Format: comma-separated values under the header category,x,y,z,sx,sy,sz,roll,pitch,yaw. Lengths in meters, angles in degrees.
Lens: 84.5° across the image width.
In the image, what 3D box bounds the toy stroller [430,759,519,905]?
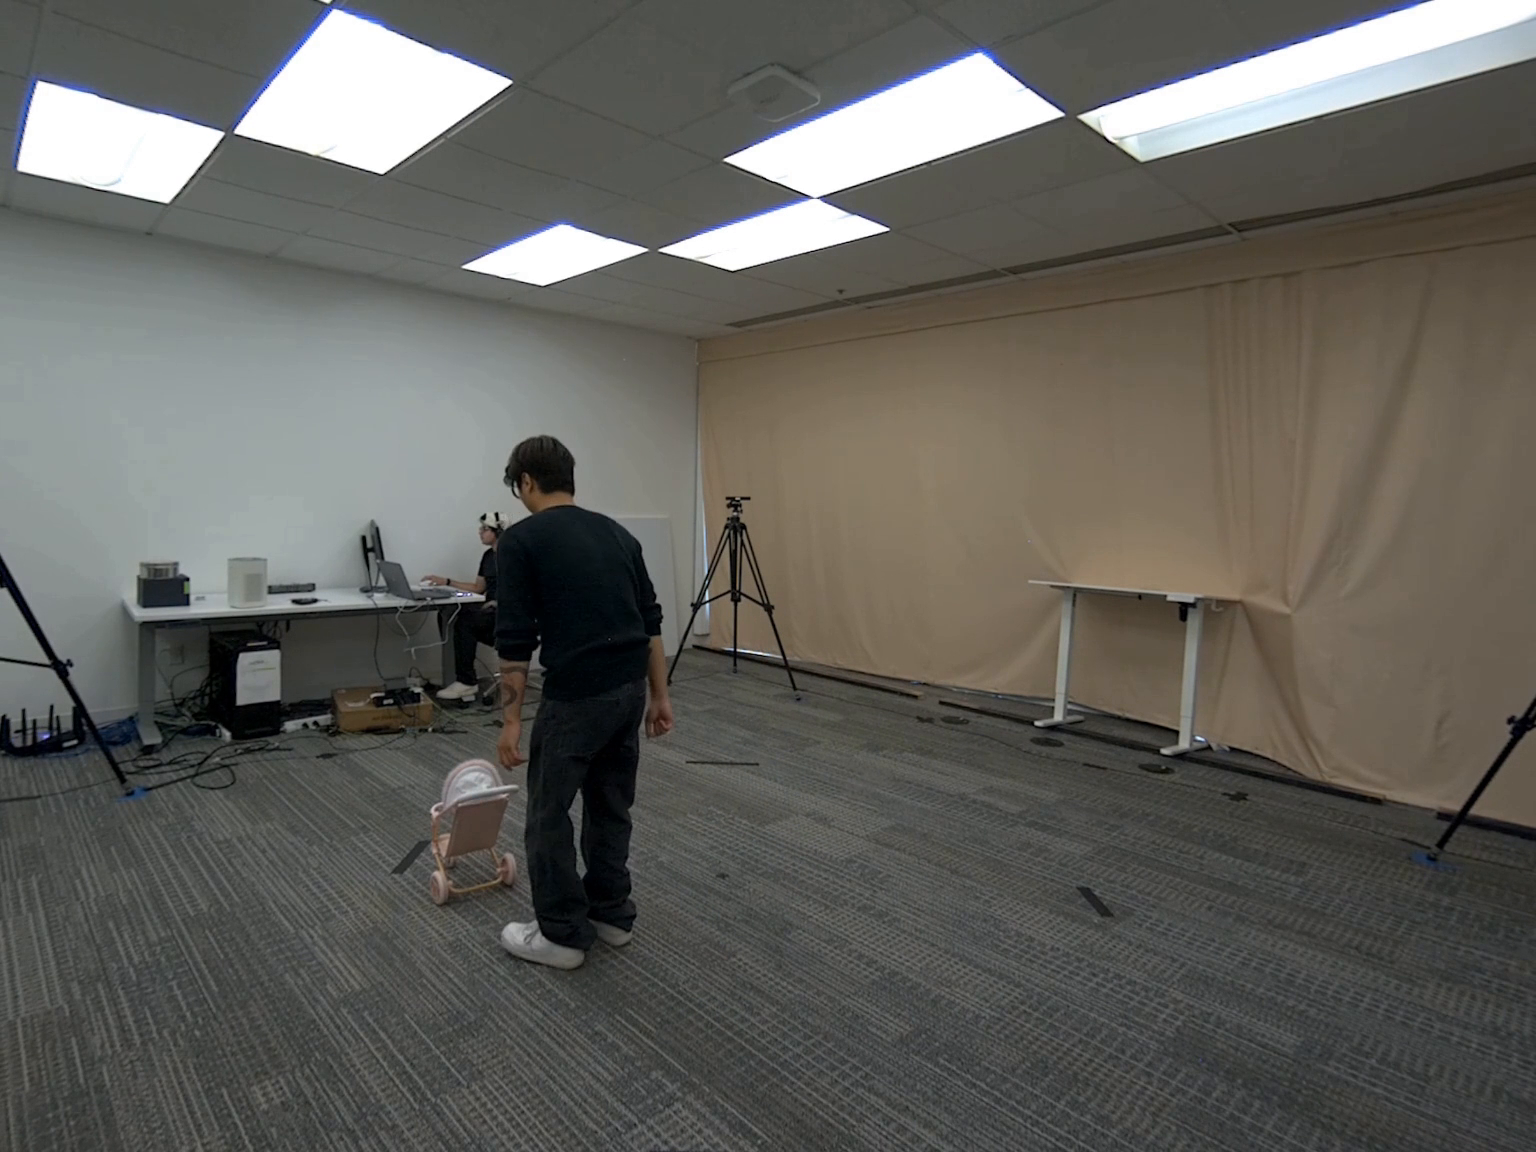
category,x,y,z,sx,sy,sz,roll,pitch,yaw
toy stroller,-1.057,0.880,2.960,0.275,0.529,0.352,-1,23,-34
